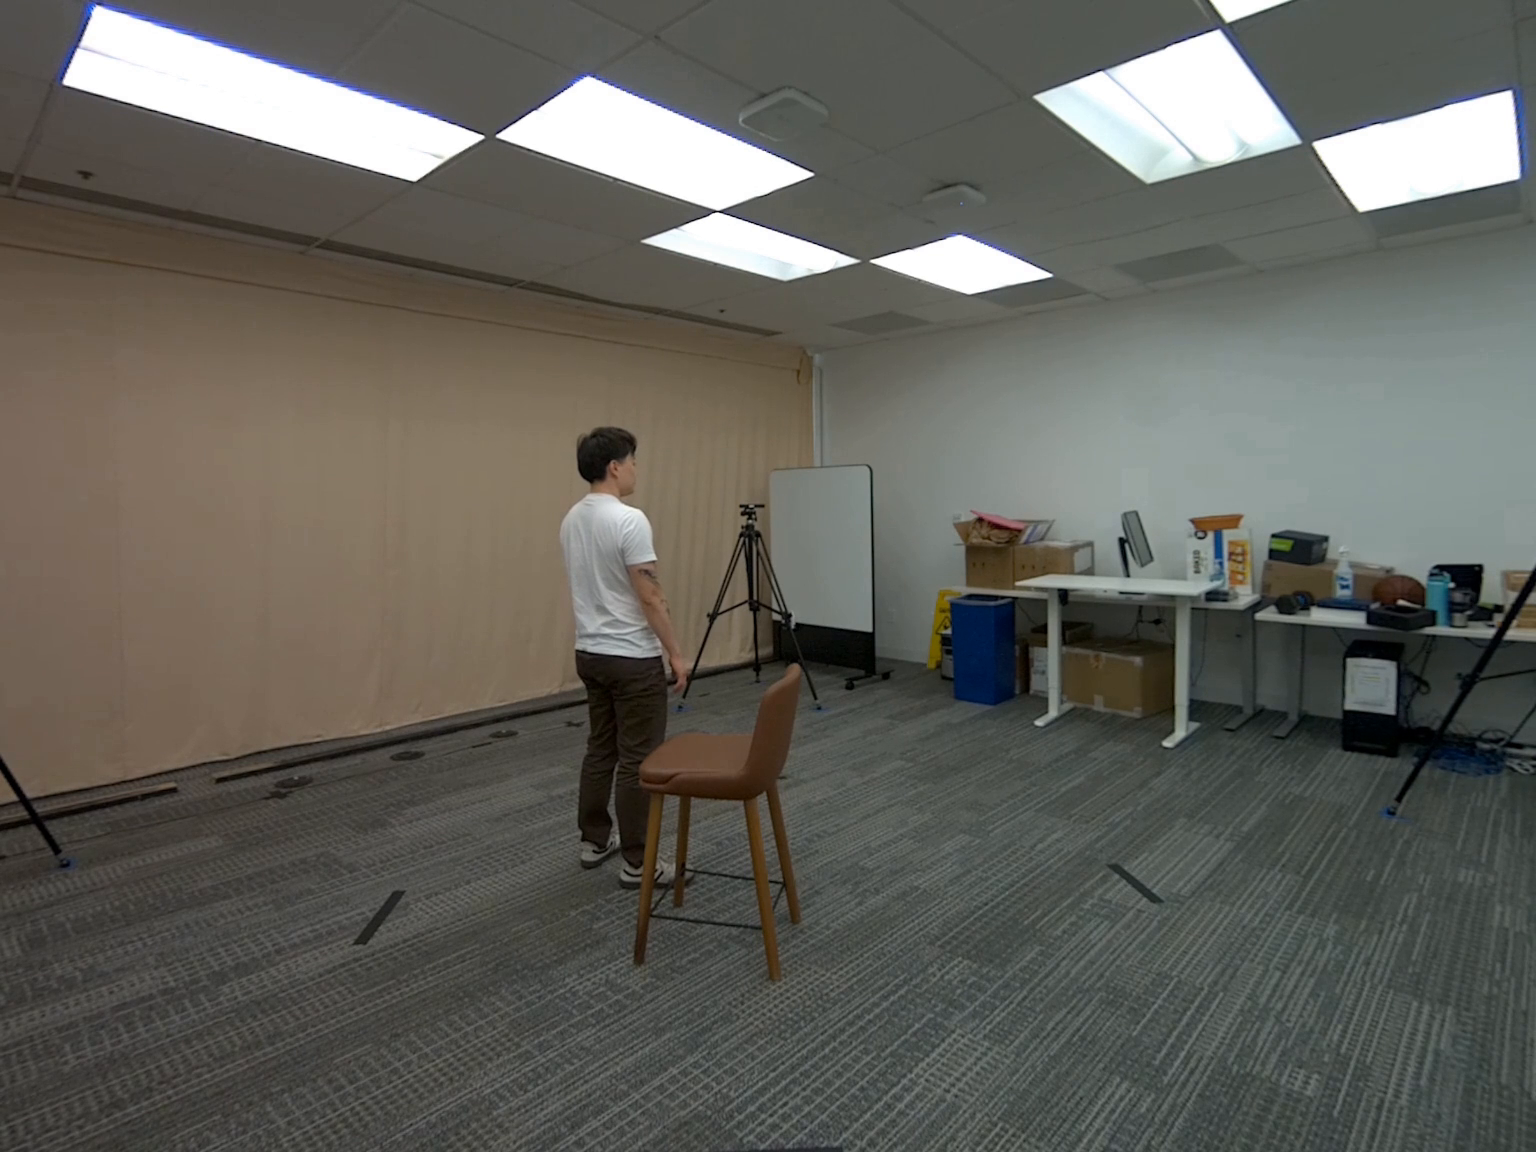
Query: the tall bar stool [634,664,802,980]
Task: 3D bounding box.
[{"bbox_3d":[-0.146,0.737,2.668,0.476,0.887,0.450,1,4,16],"label":"tall bar stool"}]
